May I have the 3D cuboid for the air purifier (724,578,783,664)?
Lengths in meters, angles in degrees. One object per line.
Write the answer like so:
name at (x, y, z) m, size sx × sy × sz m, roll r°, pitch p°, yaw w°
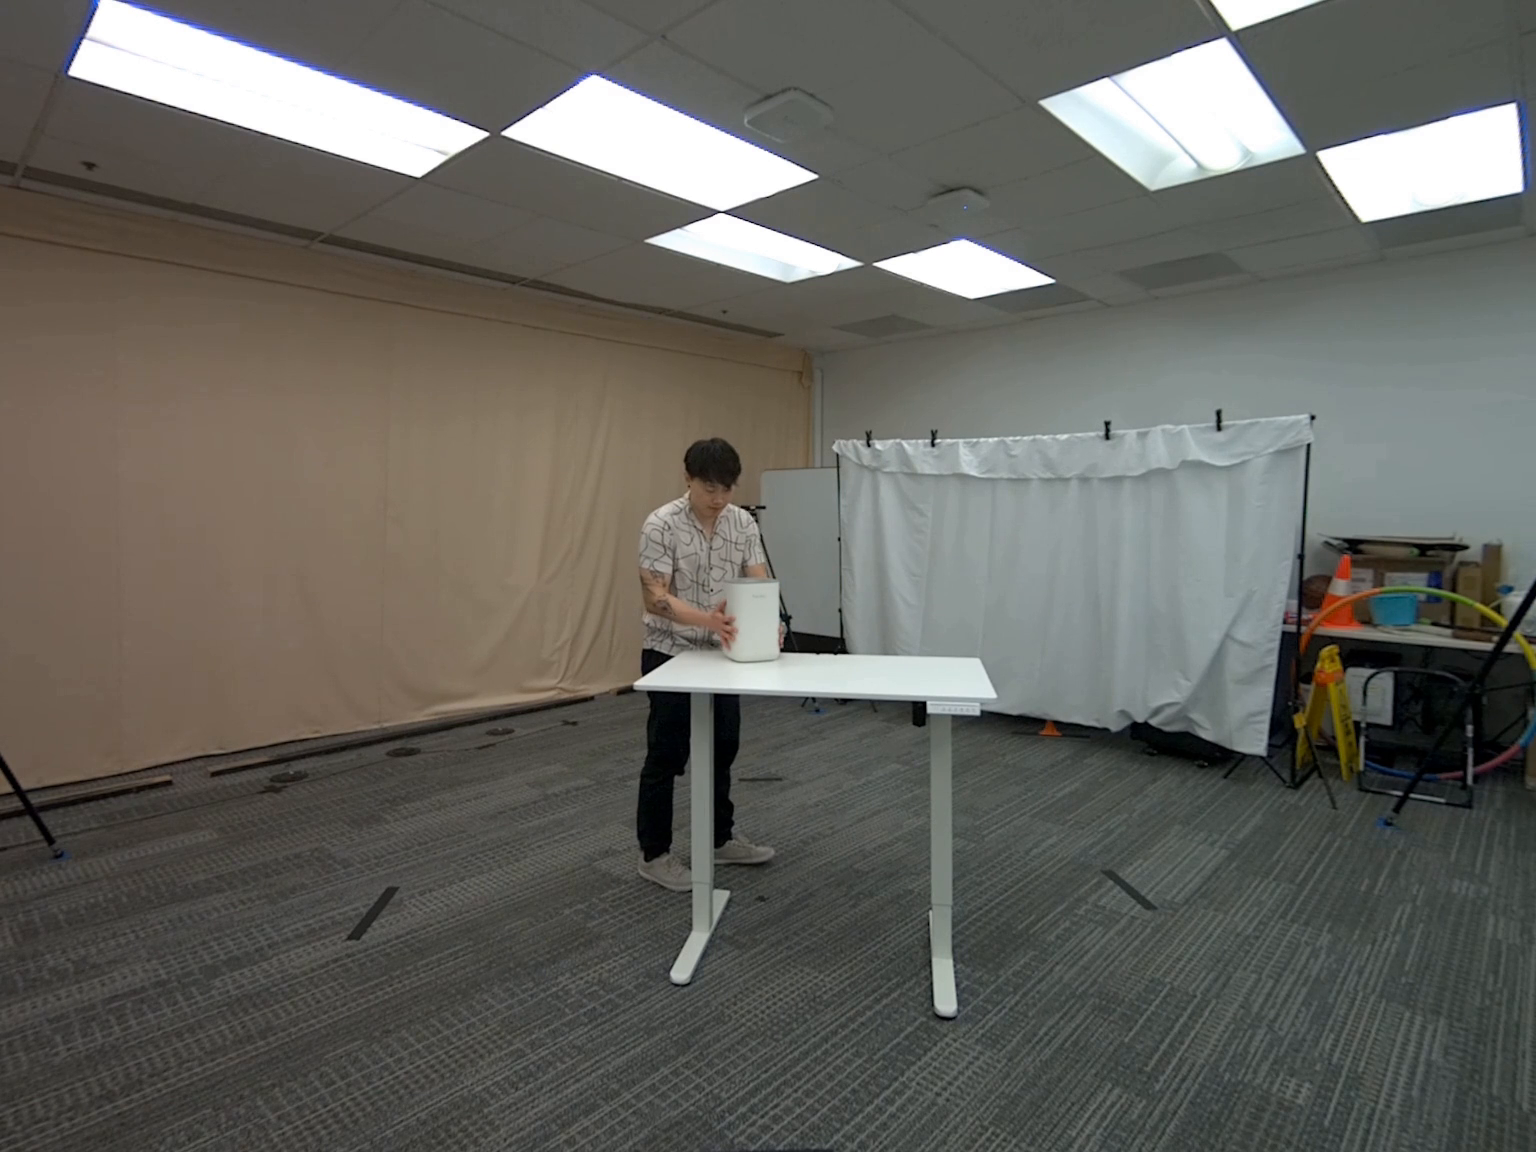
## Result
air purifier at (-0.062, 0.146, 2.808) m, size 0.168 × 0.265 × 0.175 m, roll -1°, pitch 3°, yaw -19°
